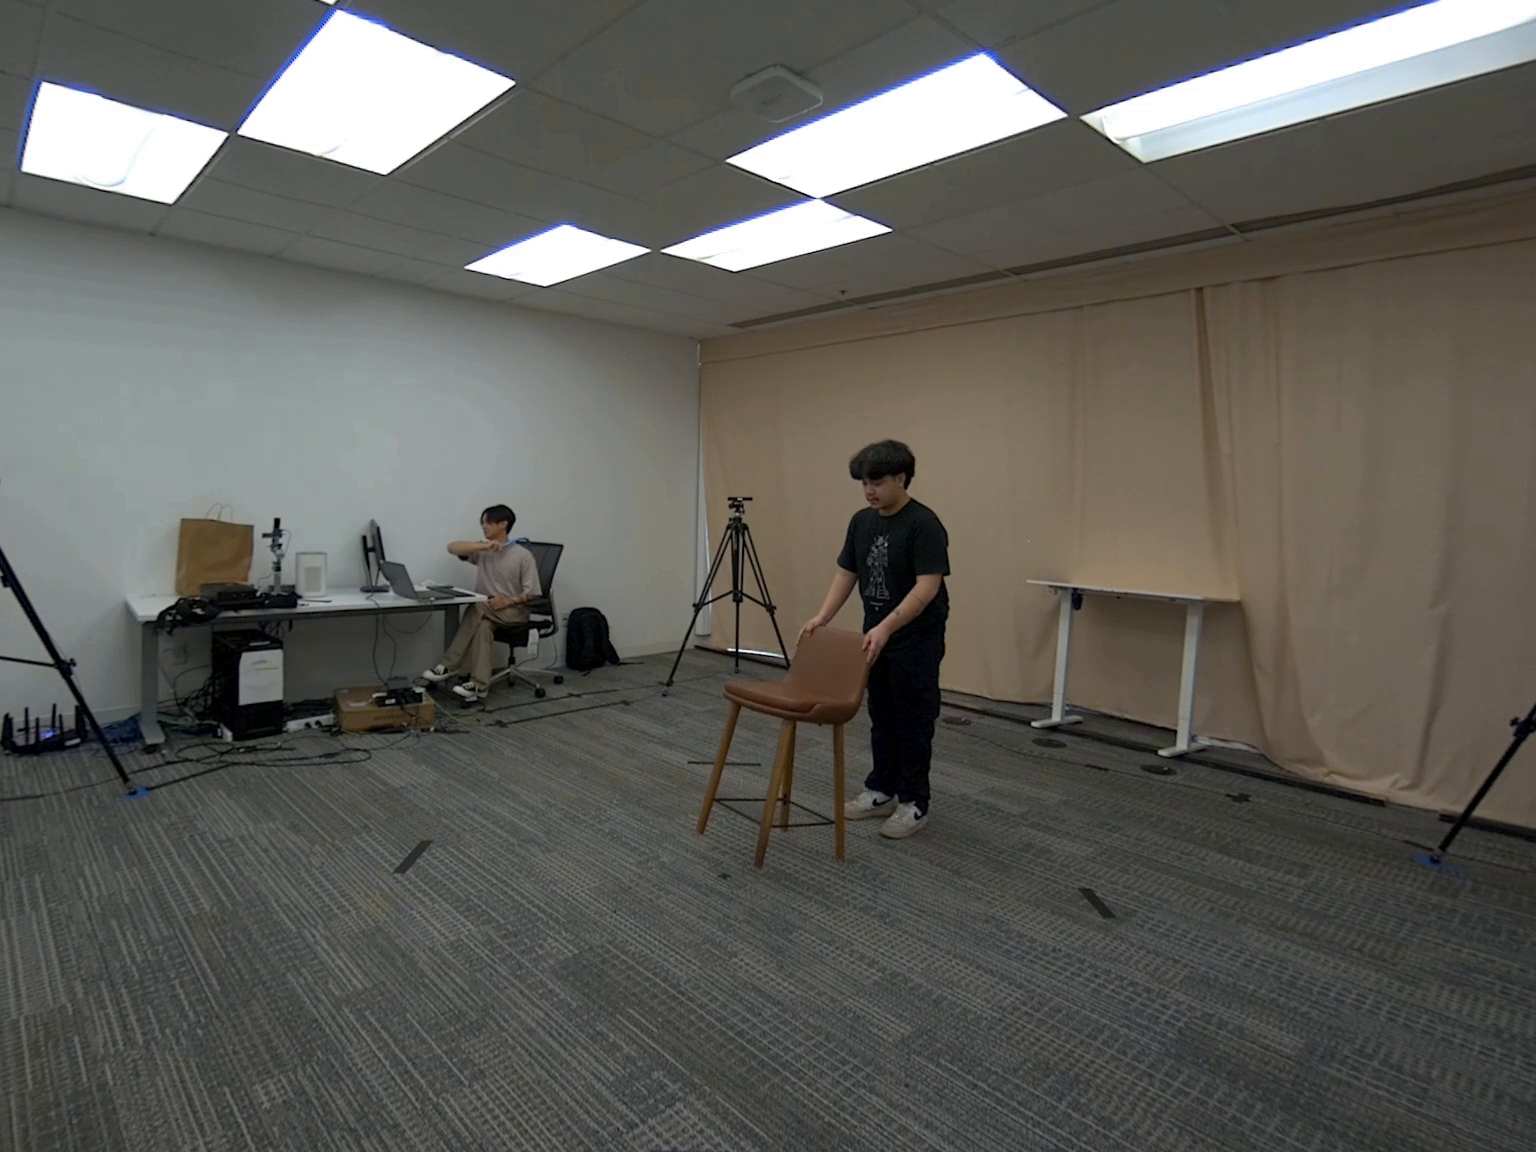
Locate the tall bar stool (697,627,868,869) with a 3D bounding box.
[{"bbox_3d":[0.077,0.631,3.317,0.455,0.892,0.467,13,-5,-36],"label":"tall bar stool"}]
